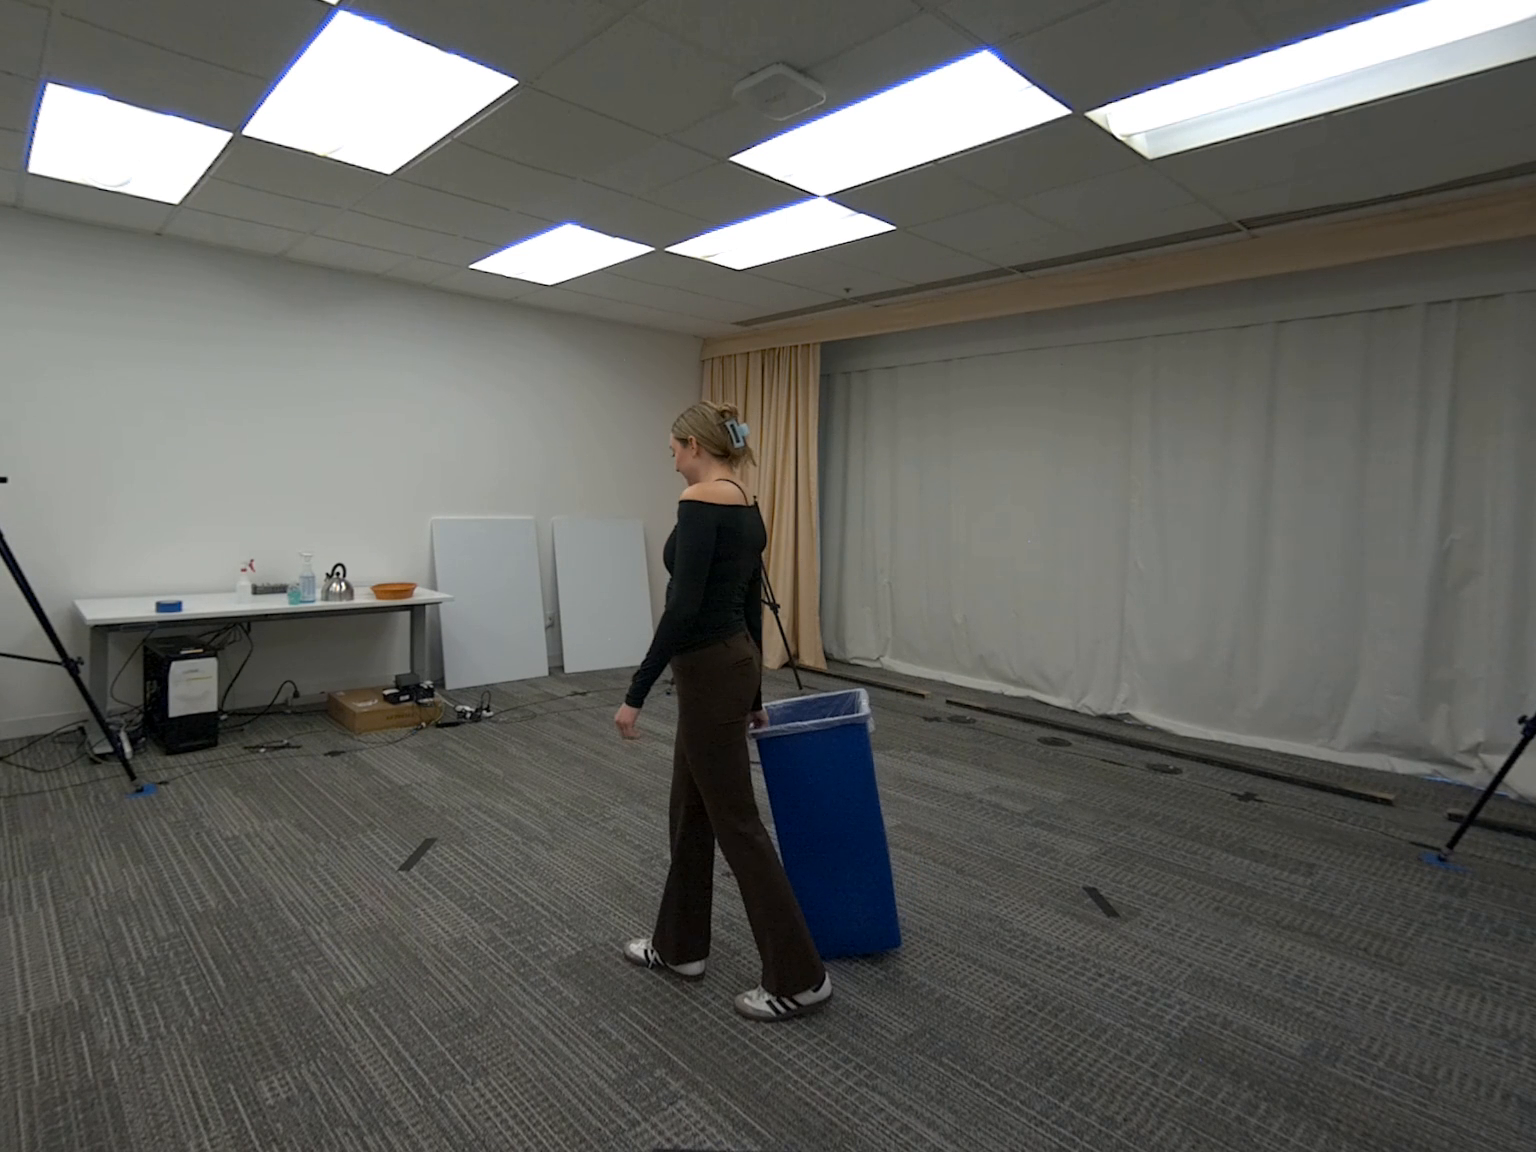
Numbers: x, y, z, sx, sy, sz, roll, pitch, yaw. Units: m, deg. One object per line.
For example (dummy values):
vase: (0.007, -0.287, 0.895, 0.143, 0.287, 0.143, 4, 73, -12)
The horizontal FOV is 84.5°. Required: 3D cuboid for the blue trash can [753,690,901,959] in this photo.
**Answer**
blue trash can: (0.185, 0.771, 2.652, 0.376, 0.713, 0.376, -10, 1, 6)
